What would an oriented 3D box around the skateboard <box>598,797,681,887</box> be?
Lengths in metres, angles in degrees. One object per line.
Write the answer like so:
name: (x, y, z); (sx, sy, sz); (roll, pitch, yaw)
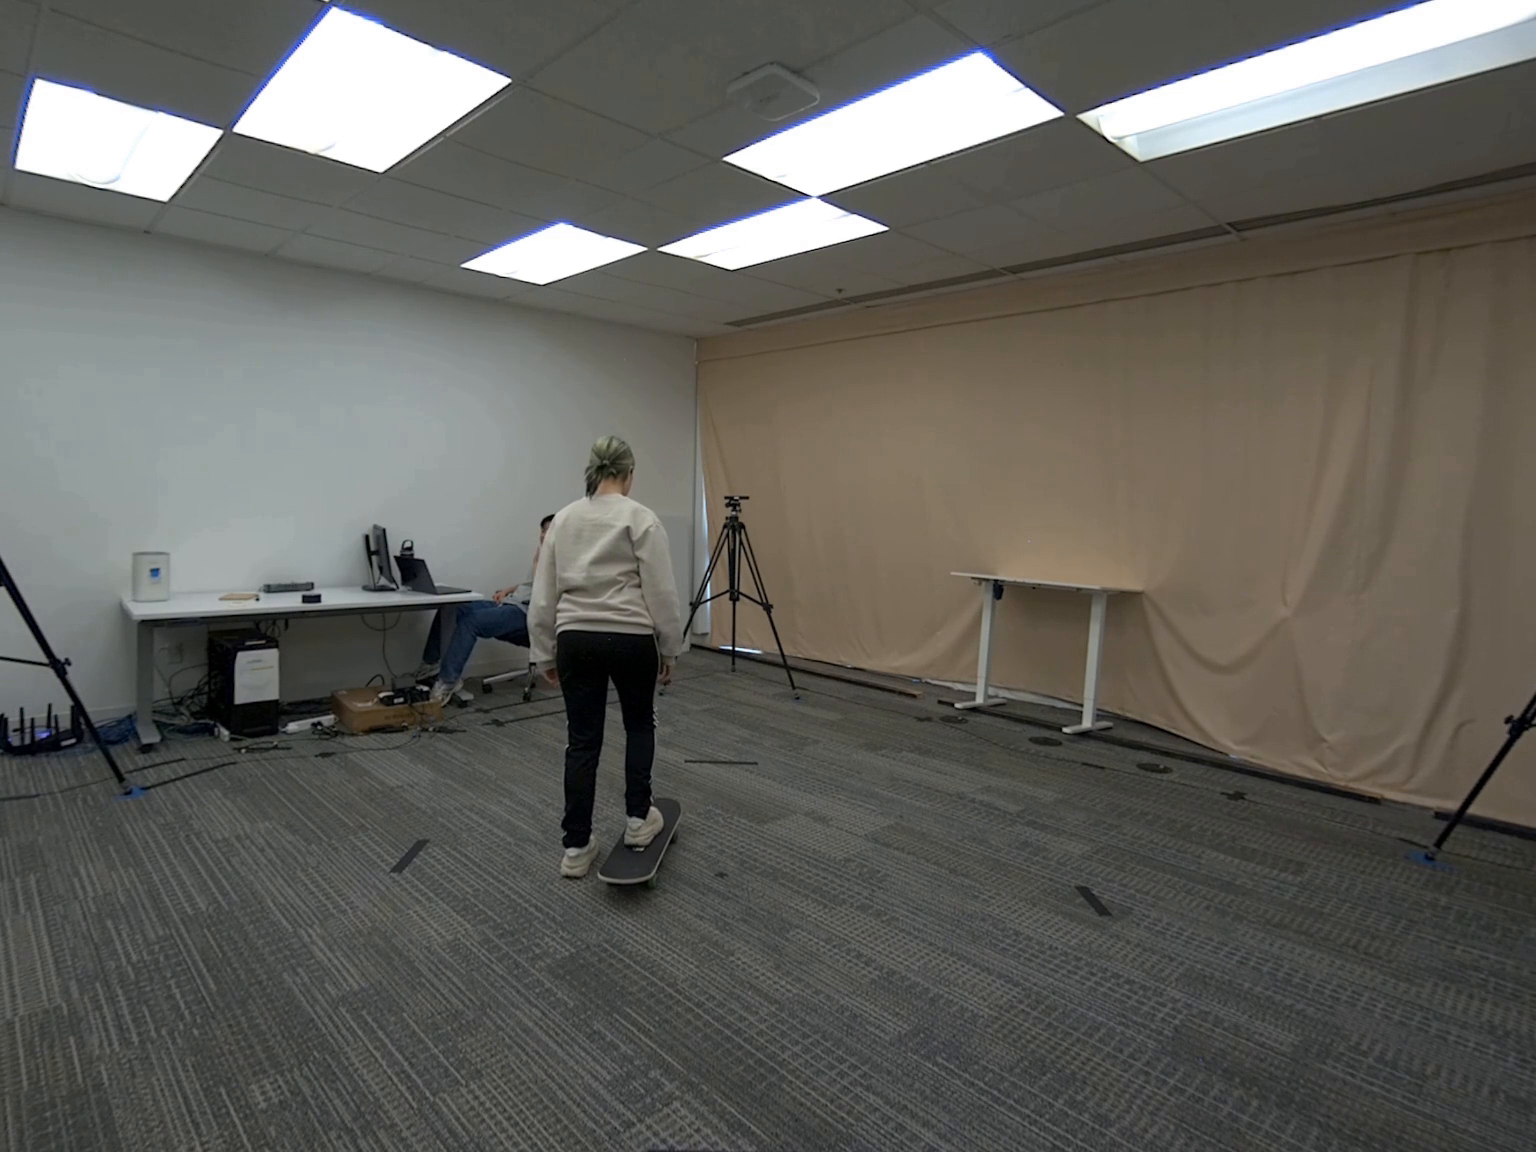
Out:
skateboard: (-0.483, 1.034, 3.197); (0.194, 0.110, 0.784); (1, 5, 4)
